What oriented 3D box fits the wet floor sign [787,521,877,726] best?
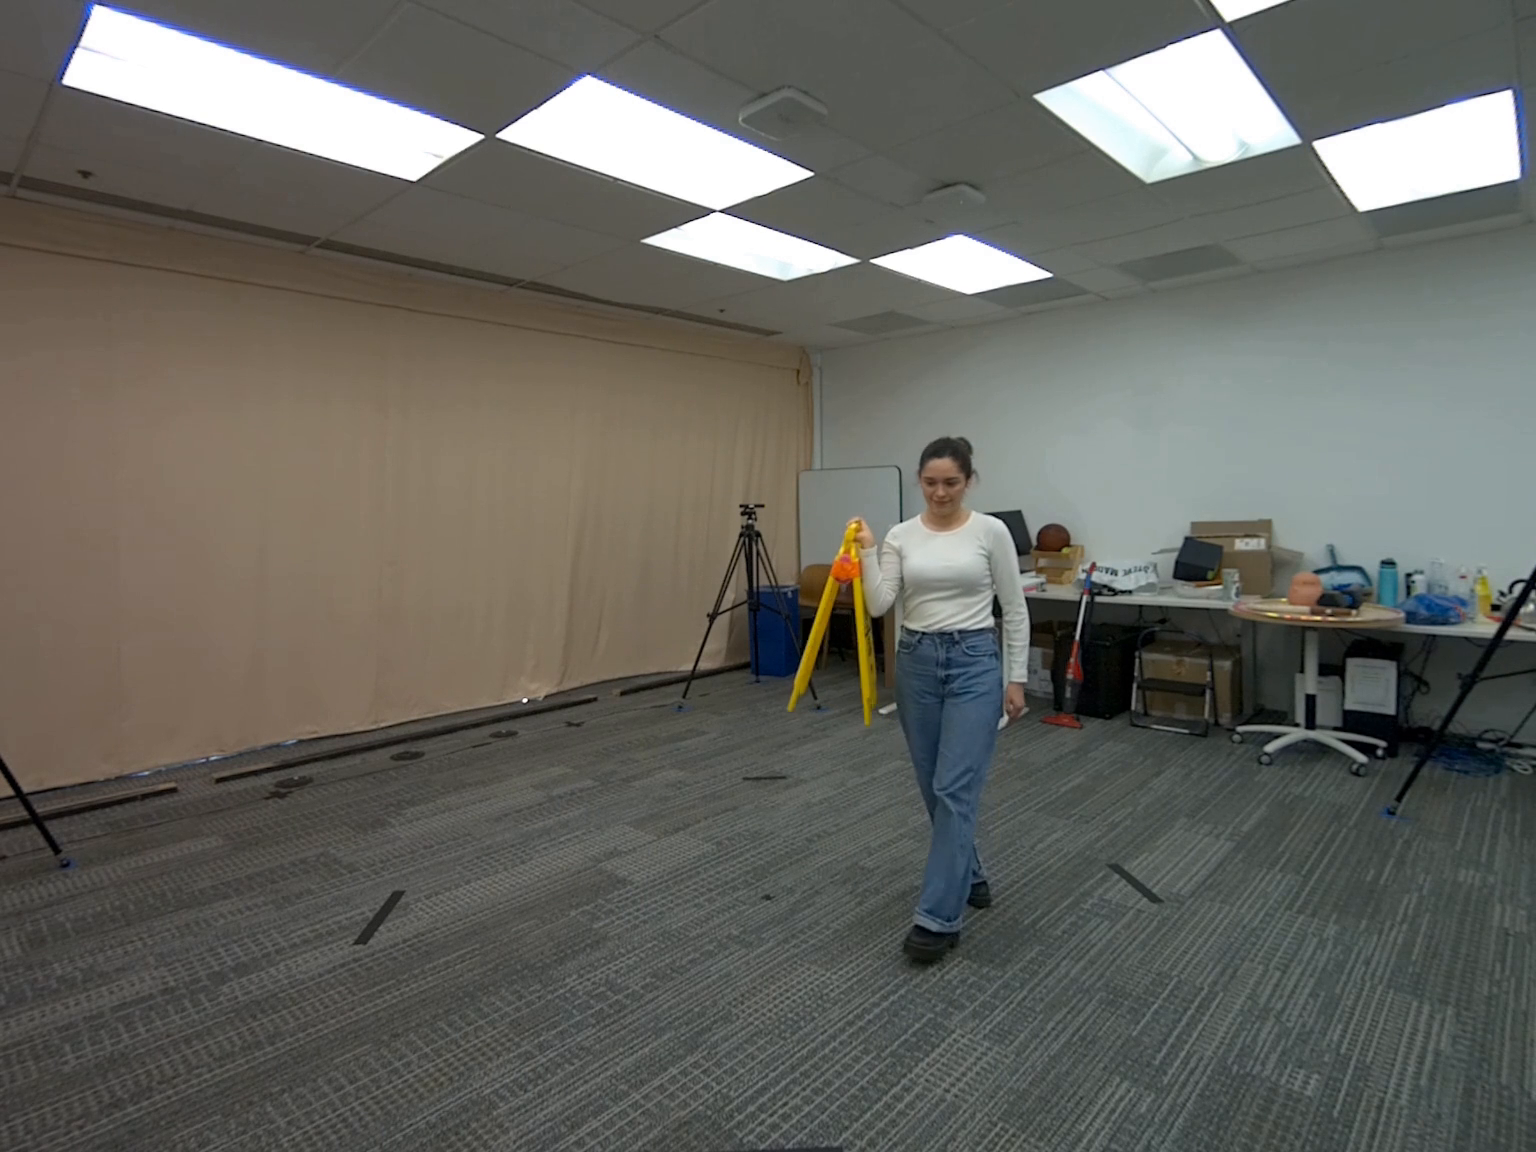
[{"bbox_3d":[0.270,0.141,2.865,0.295,0.643,0.279,8,10,15],"label":"wet floor sign"}]
